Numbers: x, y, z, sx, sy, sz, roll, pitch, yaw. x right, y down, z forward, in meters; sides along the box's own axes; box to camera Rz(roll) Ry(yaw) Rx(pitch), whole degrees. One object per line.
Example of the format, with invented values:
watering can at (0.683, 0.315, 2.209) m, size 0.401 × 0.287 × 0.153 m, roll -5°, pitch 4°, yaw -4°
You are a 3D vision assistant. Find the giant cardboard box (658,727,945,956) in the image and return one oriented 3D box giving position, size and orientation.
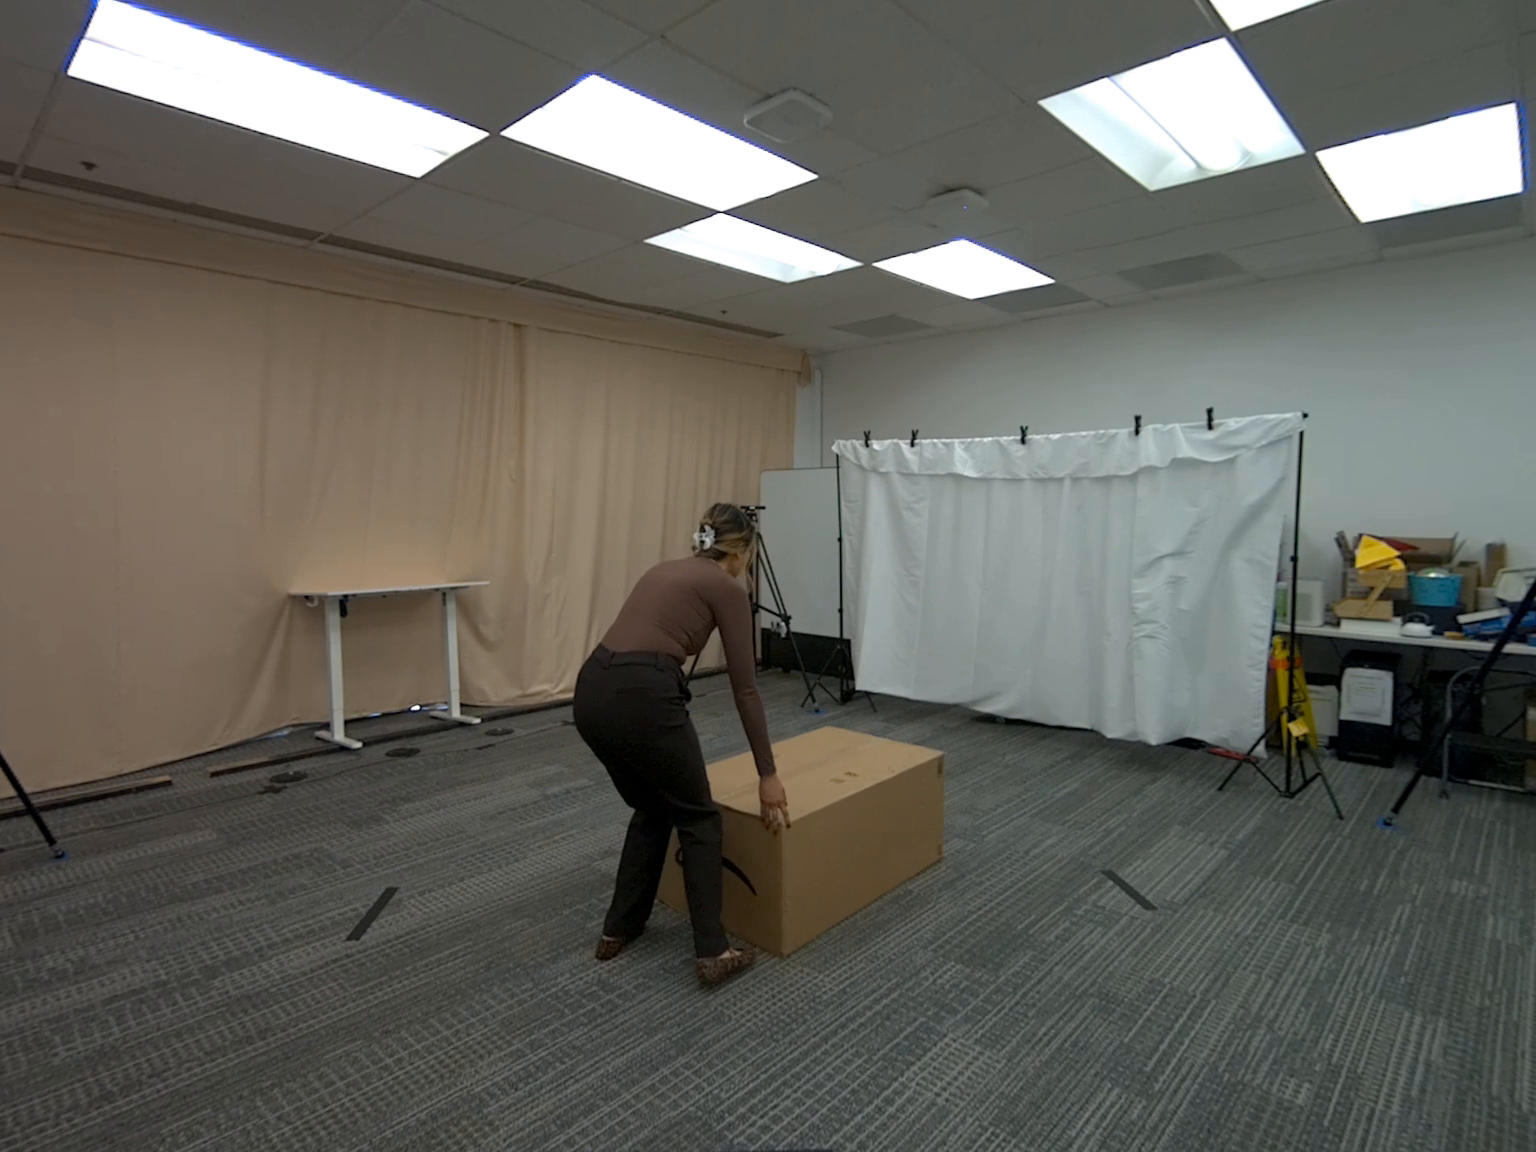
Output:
giant cardboard box at (0.156, 0.921, 3.142) m, size 0.603 × 0.446 × 0.996 m, roll 2°, pitch 4°, yaw 41°
